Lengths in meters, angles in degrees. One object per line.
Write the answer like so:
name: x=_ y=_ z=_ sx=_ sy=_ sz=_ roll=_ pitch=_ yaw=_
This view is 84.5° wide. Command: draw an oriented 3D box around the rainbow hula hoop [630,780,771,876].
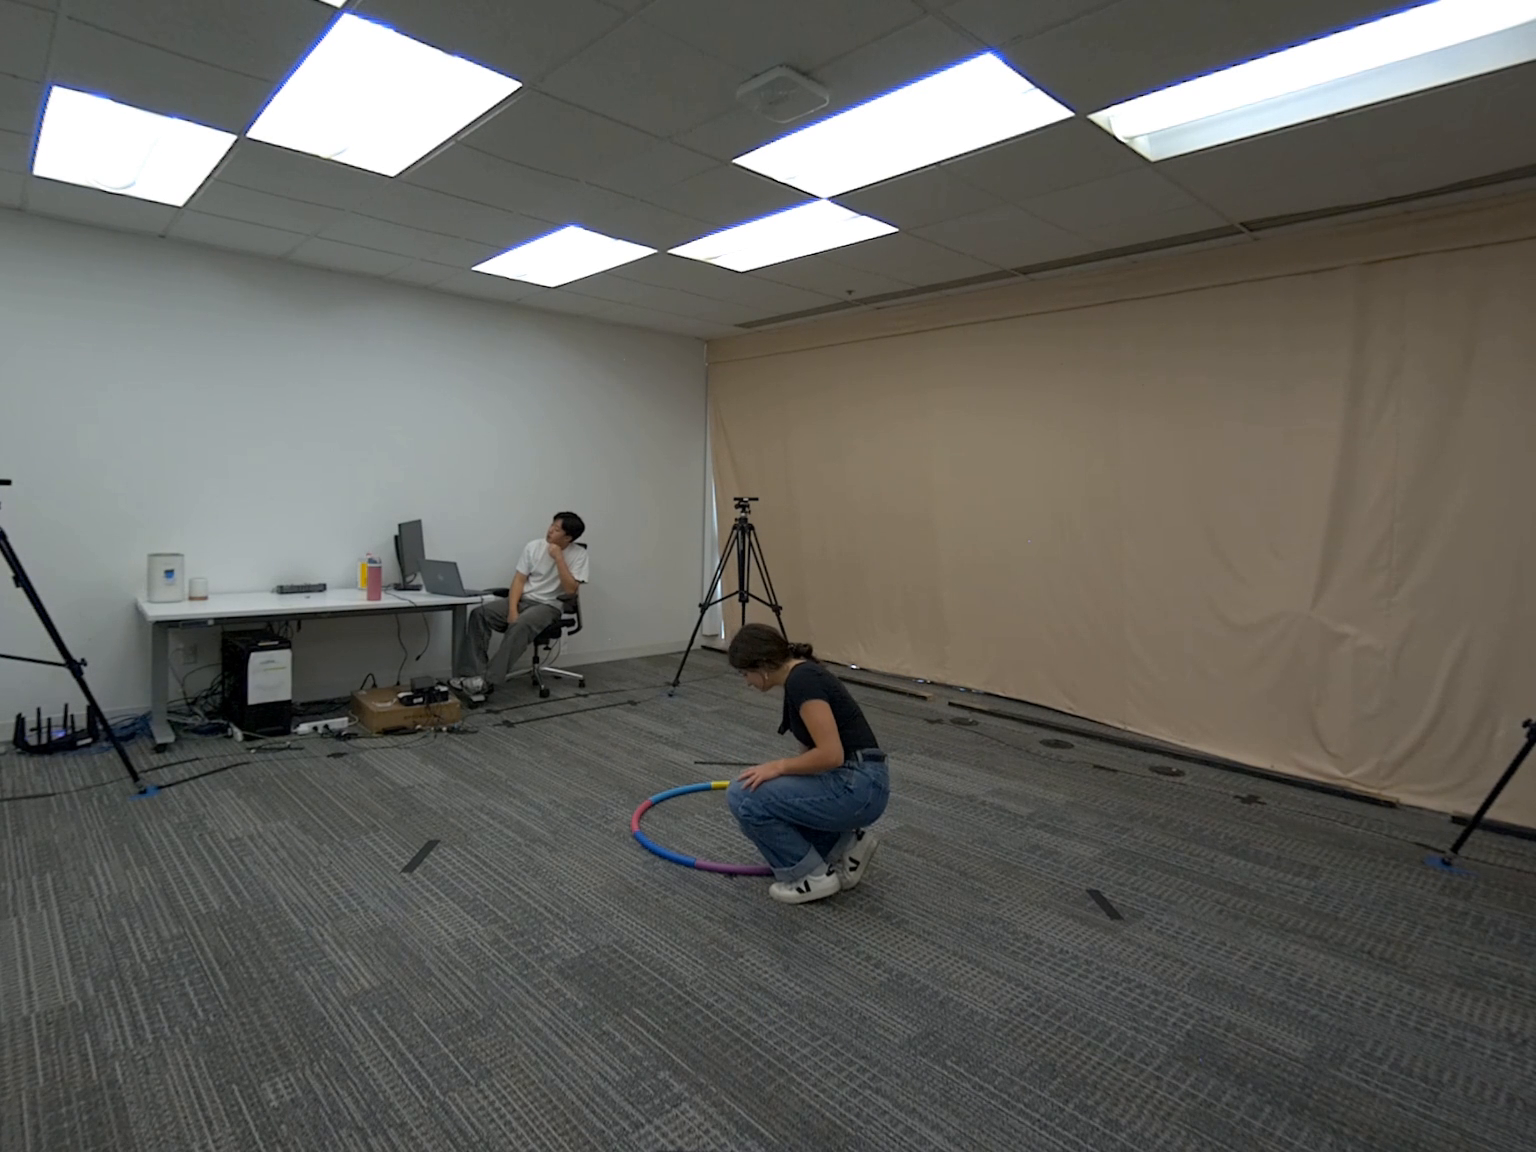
rainbow hula hoop: x=-0.100 y=1.042 z=3.586 sx=0.978 sy=0.035 sz=0.982 roll=2 pitch=5 yaw=-1
